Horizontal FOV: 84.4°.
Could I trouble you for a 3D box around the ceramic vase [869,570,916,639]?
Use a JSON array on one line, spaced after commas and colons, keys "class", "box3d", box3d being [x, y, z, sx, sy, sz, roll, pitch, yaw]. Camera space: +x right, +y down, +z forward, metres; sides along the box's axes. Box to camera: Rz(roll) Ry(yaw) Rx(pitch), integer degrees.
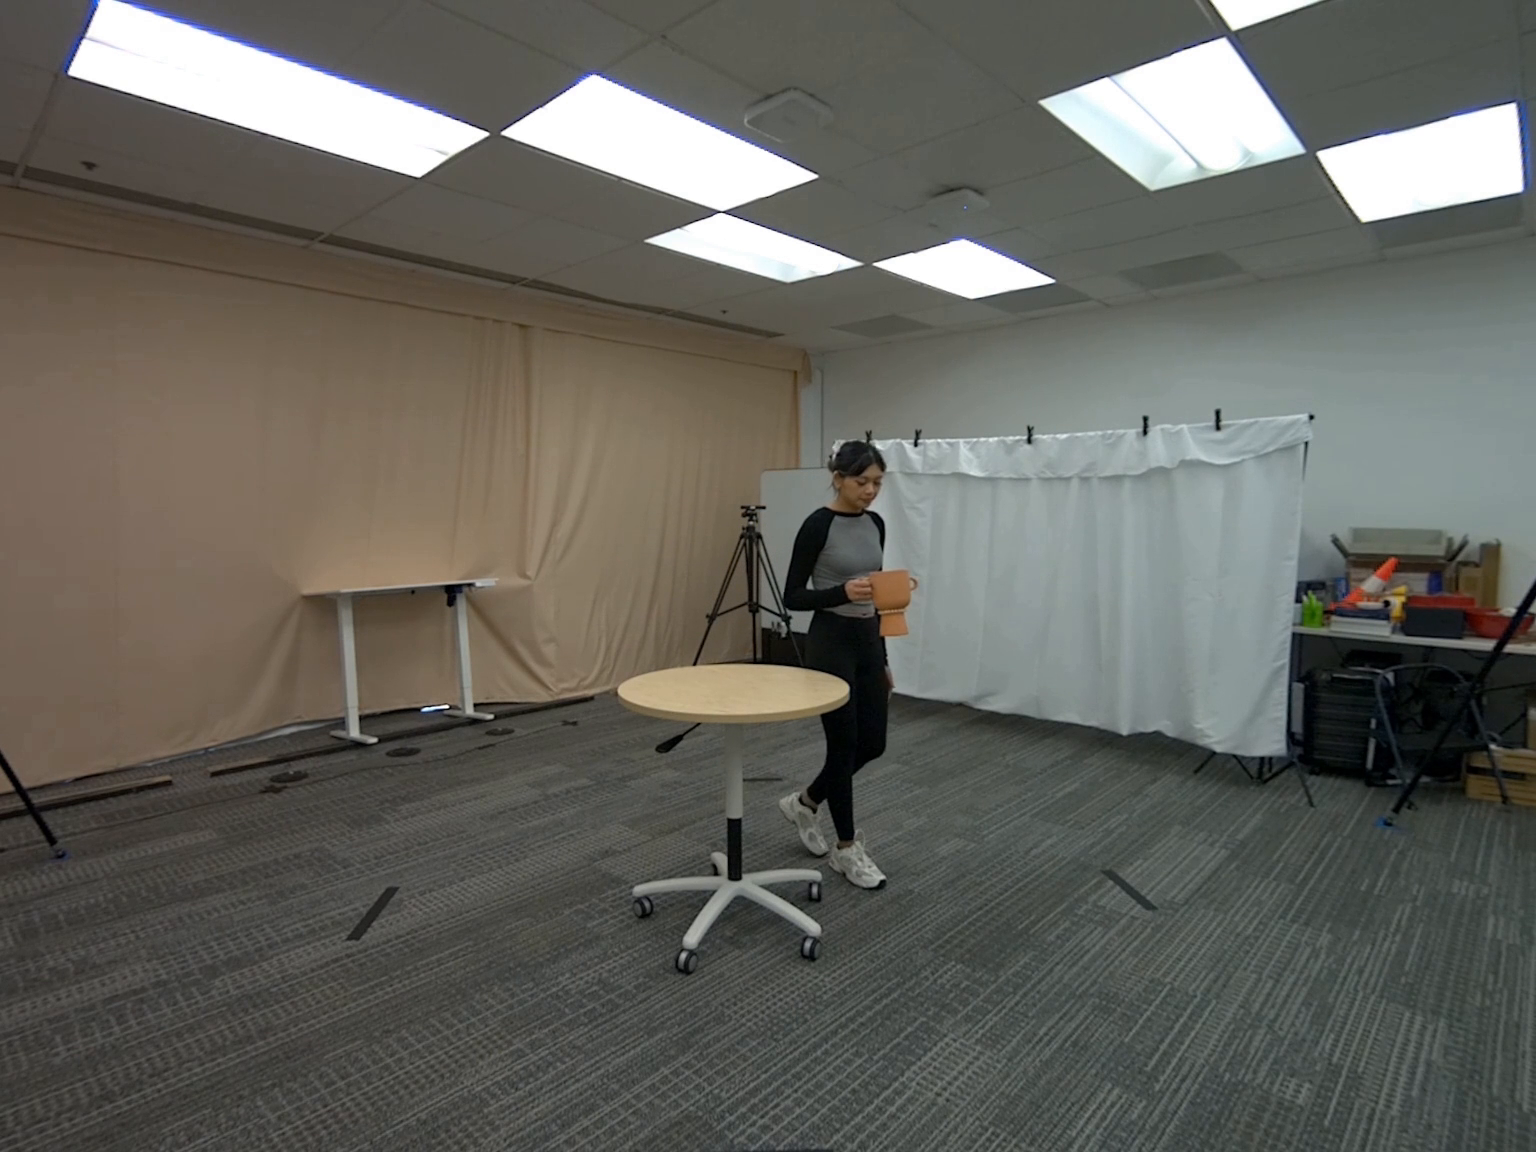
[{"class": "ceramic vase", "box3d": [0.418, 0.092, 2.901, 0.163, 0.220, 0.131, -3, -1, 29]}]
